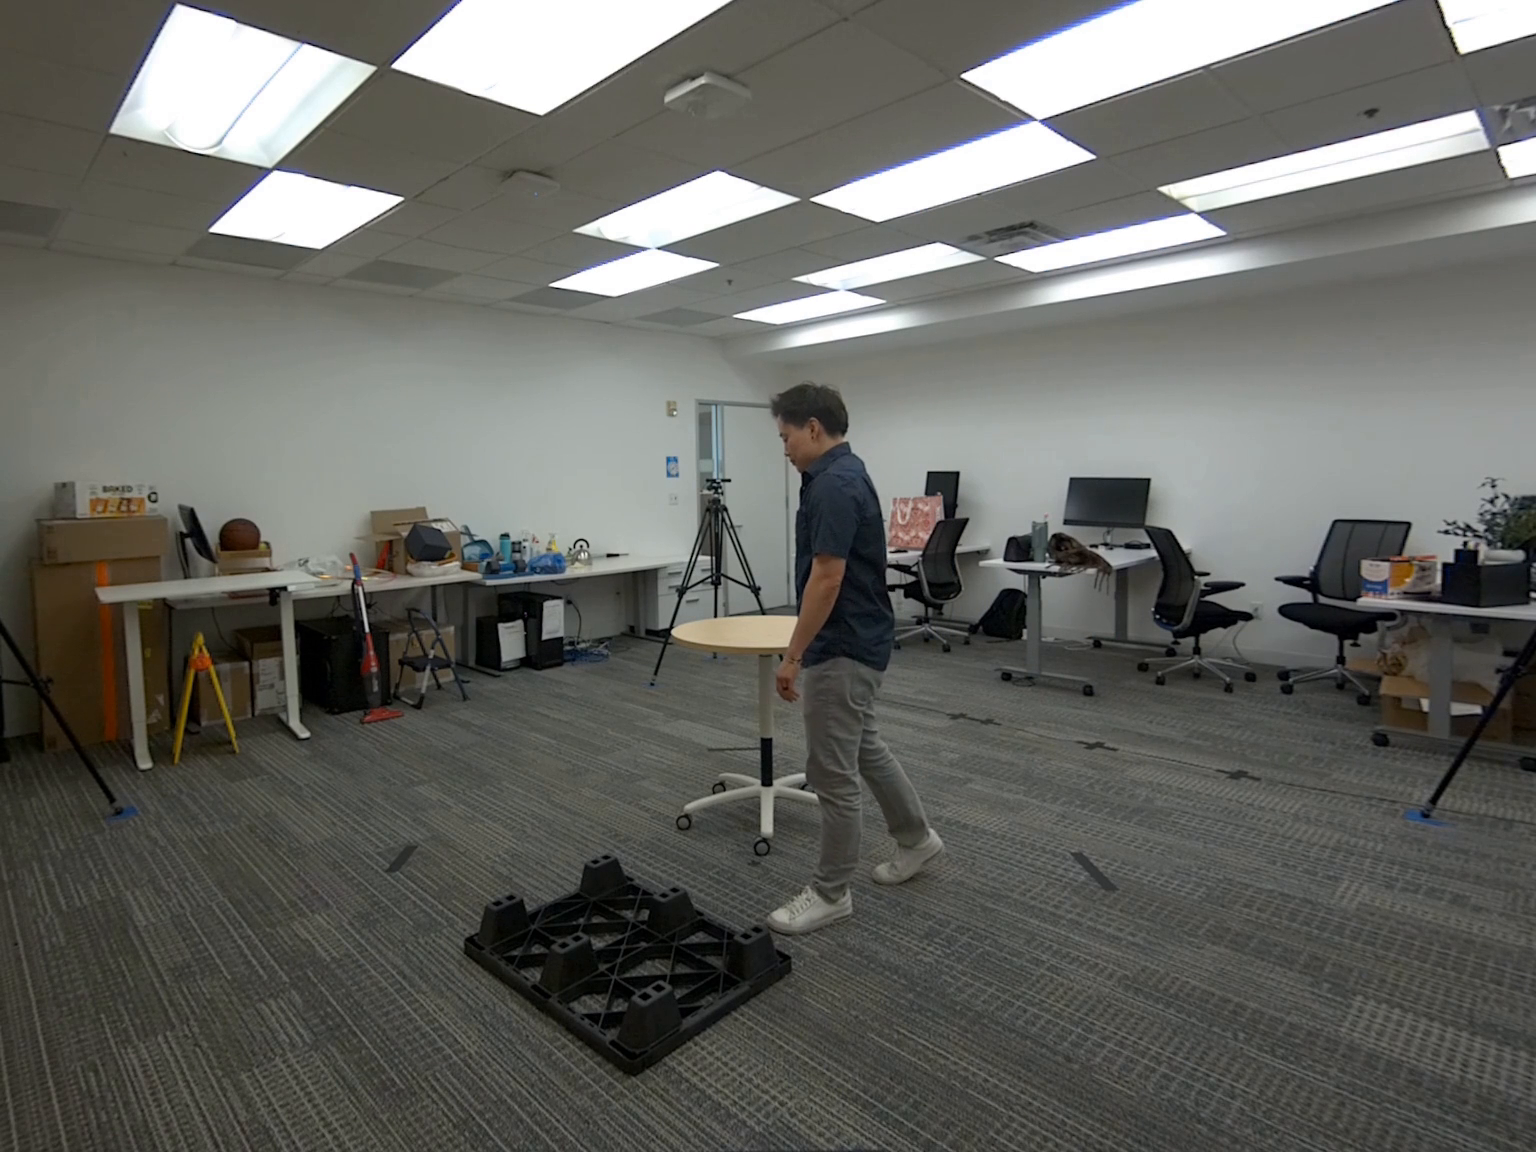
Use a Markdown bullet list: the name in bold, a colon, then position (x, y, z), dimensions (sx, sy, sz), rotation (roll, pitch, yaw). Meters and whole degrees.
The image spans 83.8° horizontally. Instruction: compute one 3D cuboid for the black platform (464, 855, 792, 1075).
- **black platform**: position (-0.423, 1.059, 2.489), dimensions (0.830, 0.143, 0.589), rotation (4, 8, 42)
